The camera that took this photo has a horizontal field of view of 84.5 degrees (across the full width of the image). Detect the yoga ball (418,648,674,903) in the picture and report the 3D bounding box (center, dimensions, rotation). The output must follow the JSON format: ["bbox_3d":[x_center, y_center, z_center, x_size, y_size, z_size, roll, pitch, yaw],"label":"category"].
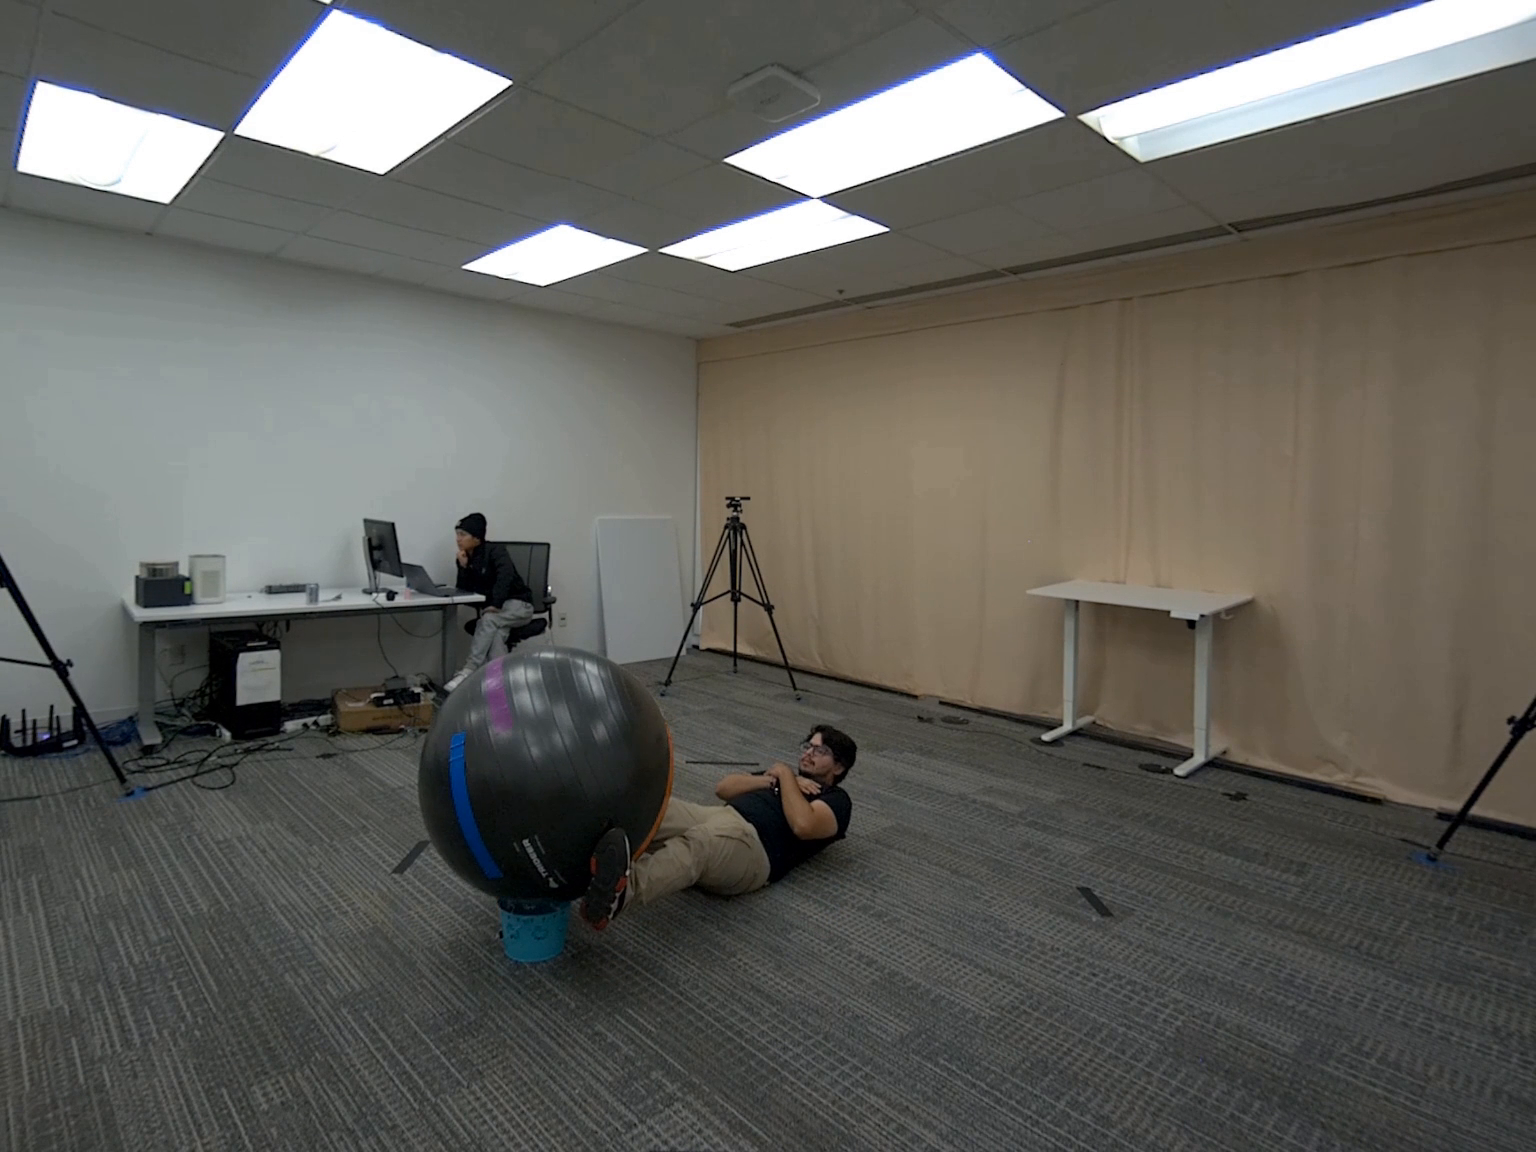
[{"bbox_3d":[-0.678,0.603,2.574,0.757,0.756,0.761,1,4,-1],"label":"yoga ball"}]
